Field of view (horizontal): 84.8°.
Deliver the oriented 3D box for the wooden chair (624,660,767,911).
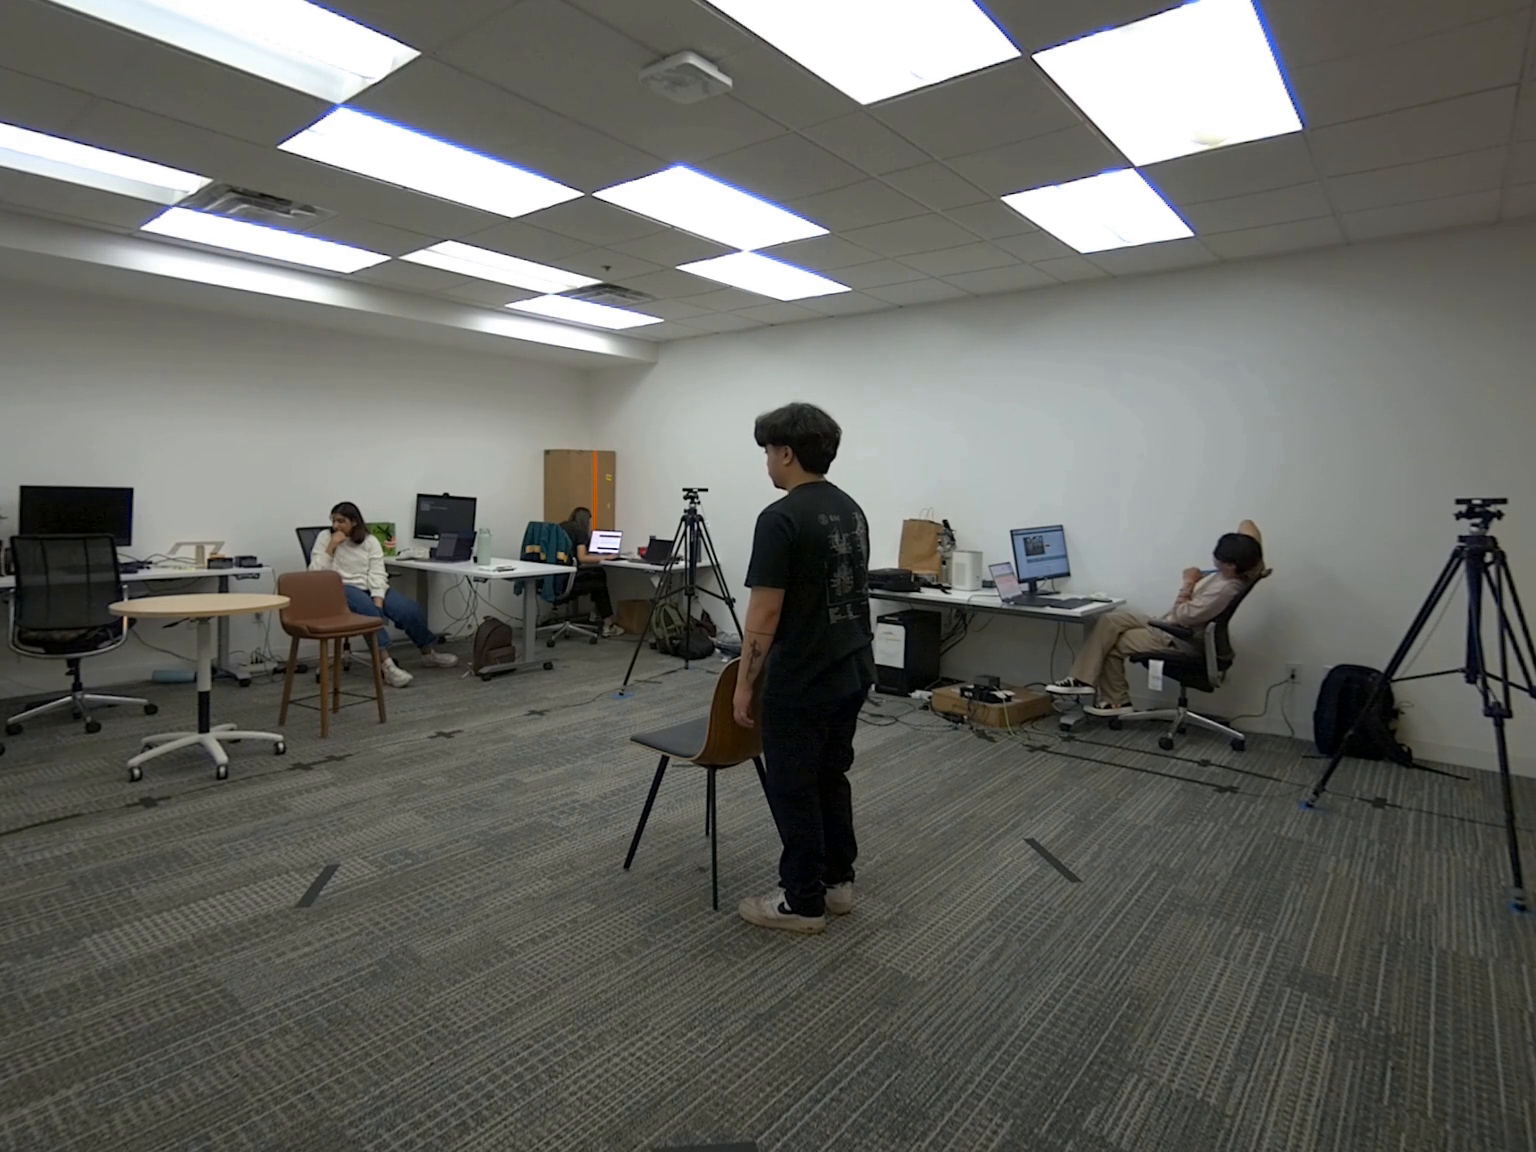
[{"bbox_3d":[-0.220,0.646,3.096,0.542,0.873,0.464,10,8,40],"label":"wooden chair"}]
